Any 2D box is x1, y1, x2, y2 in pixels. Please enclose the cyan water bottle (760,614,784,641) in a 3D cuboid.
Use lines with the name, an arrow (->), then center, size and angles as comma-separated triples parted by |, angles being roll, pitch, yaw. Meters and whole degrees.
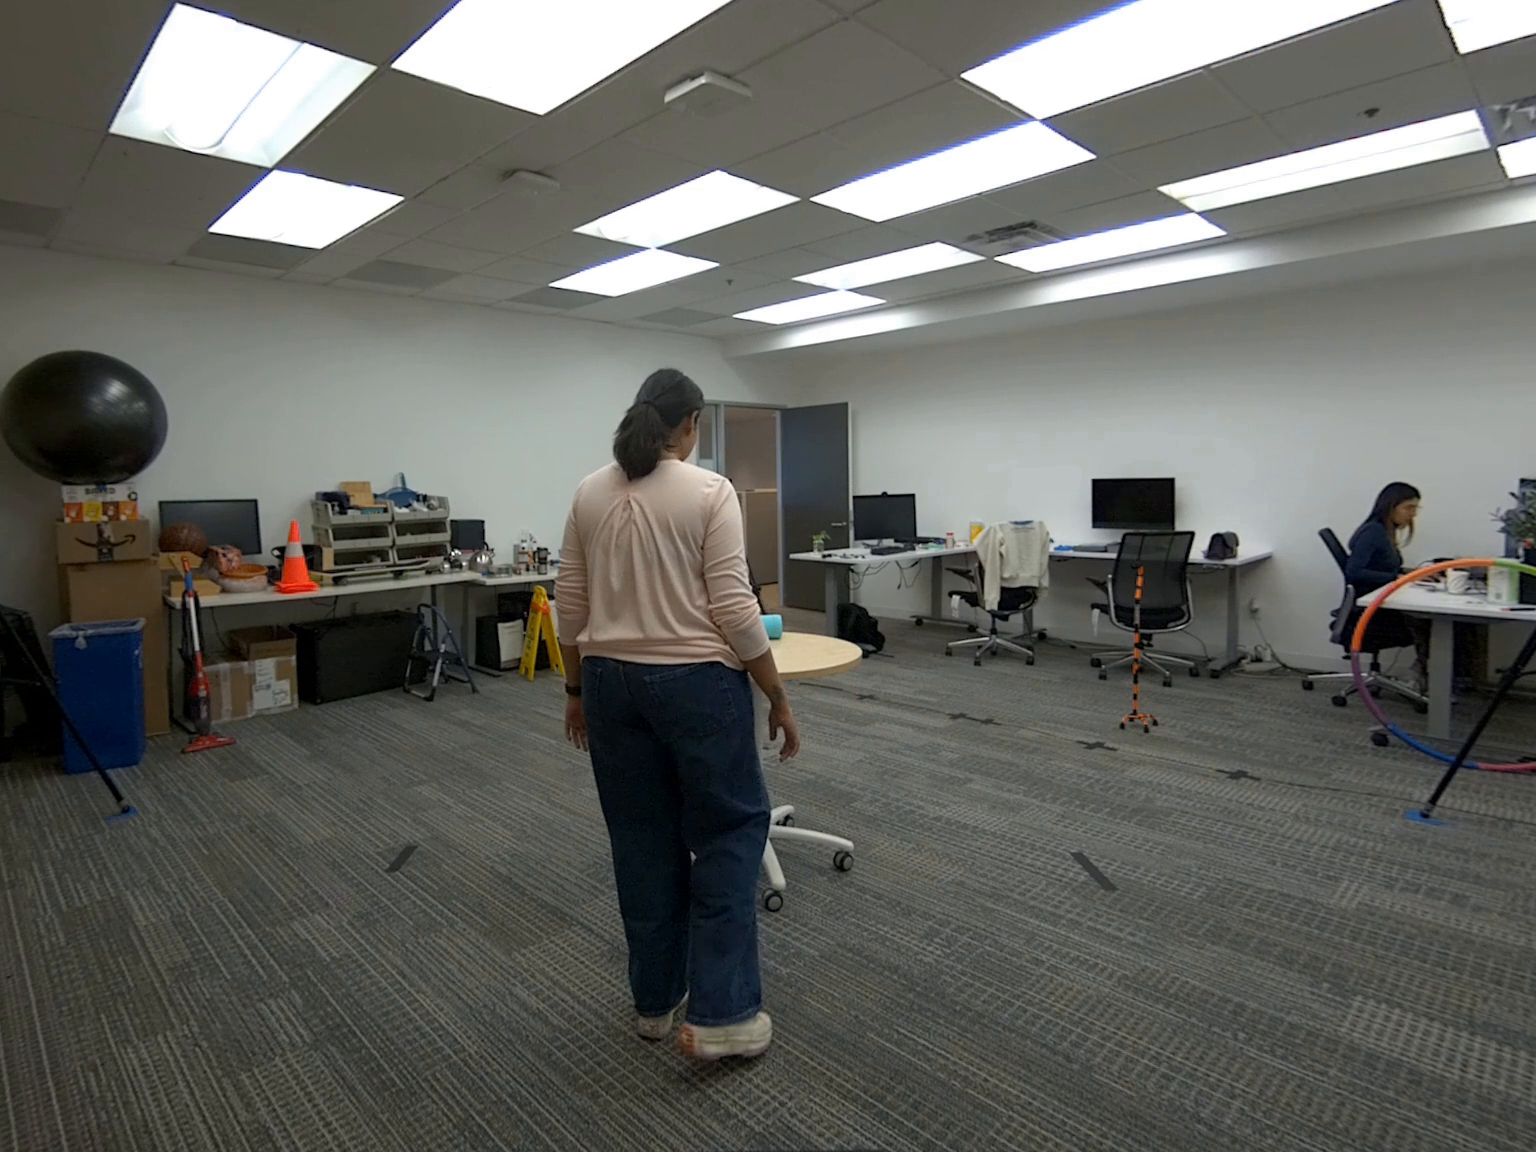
cyan water bottle -> -0.083, 0.201, 3.268 | 0.282, 0.092, 0.093 | -1, 5, -3
